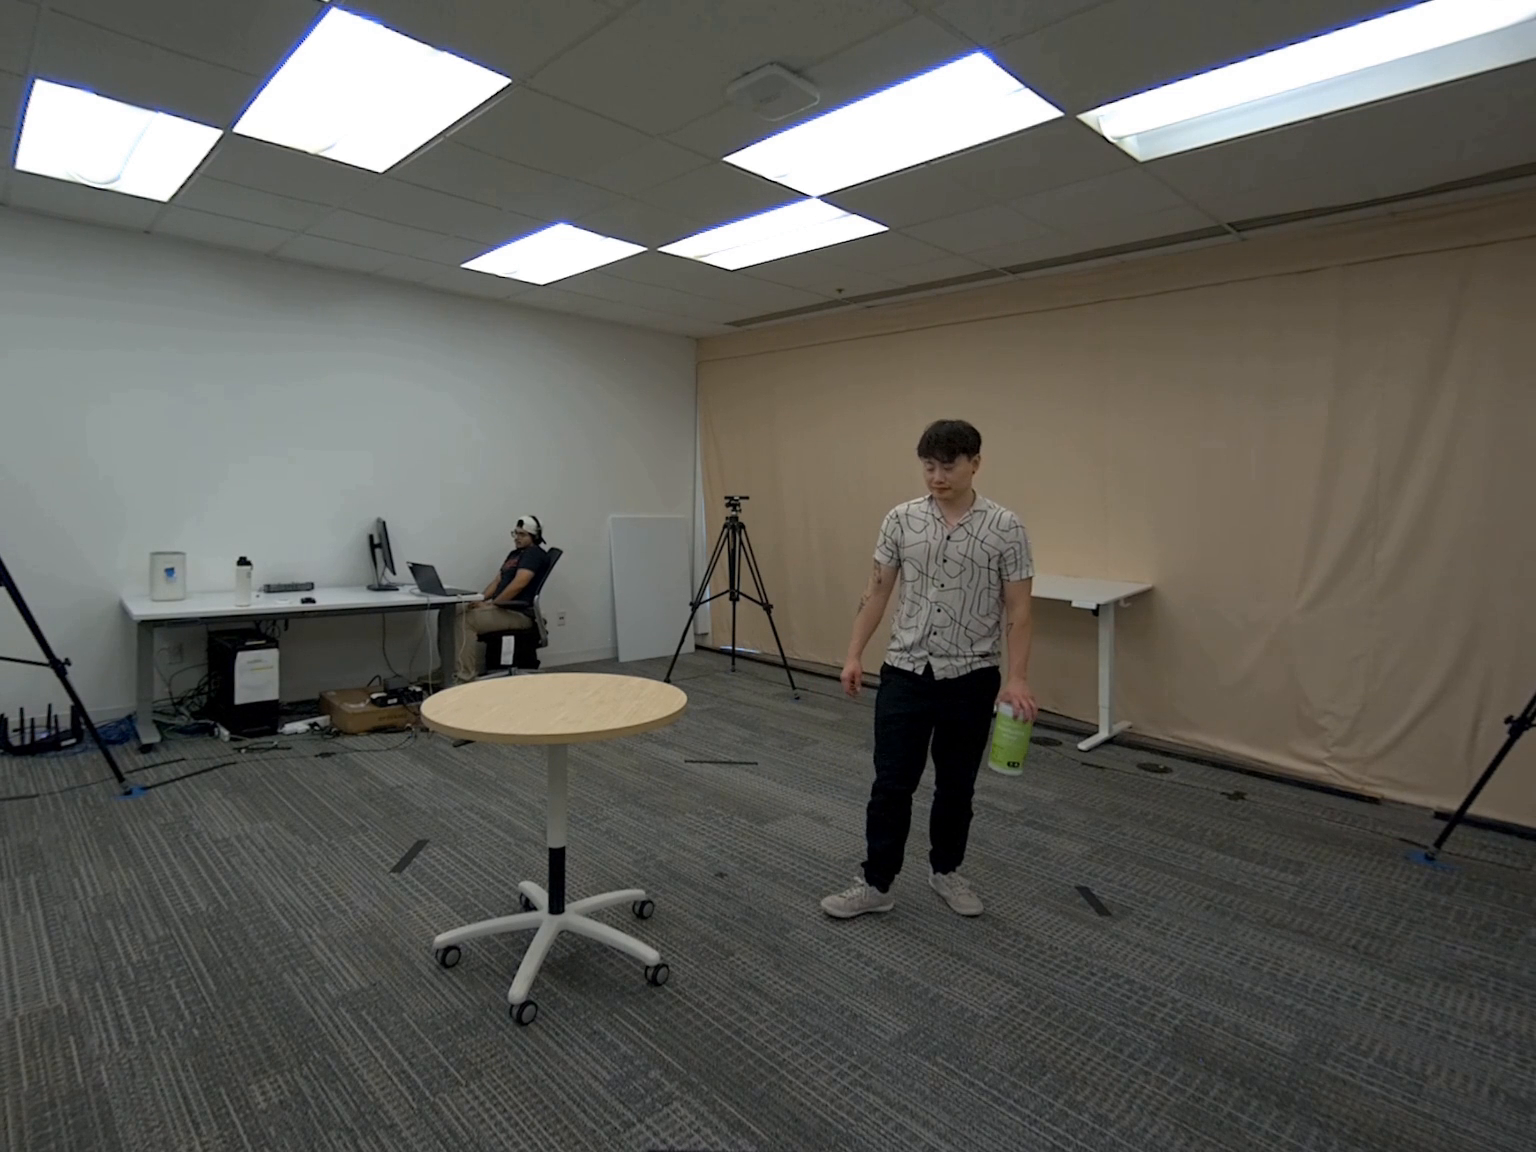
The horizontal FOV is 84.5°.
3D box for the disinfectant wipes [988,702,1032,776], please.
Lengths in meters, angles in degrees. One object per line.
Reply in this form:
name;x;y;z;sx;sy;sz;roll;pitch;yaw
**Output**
disinfectant wipes;0.769;0.517;2.674;0.117;0.216;0.118;4;9;-2
